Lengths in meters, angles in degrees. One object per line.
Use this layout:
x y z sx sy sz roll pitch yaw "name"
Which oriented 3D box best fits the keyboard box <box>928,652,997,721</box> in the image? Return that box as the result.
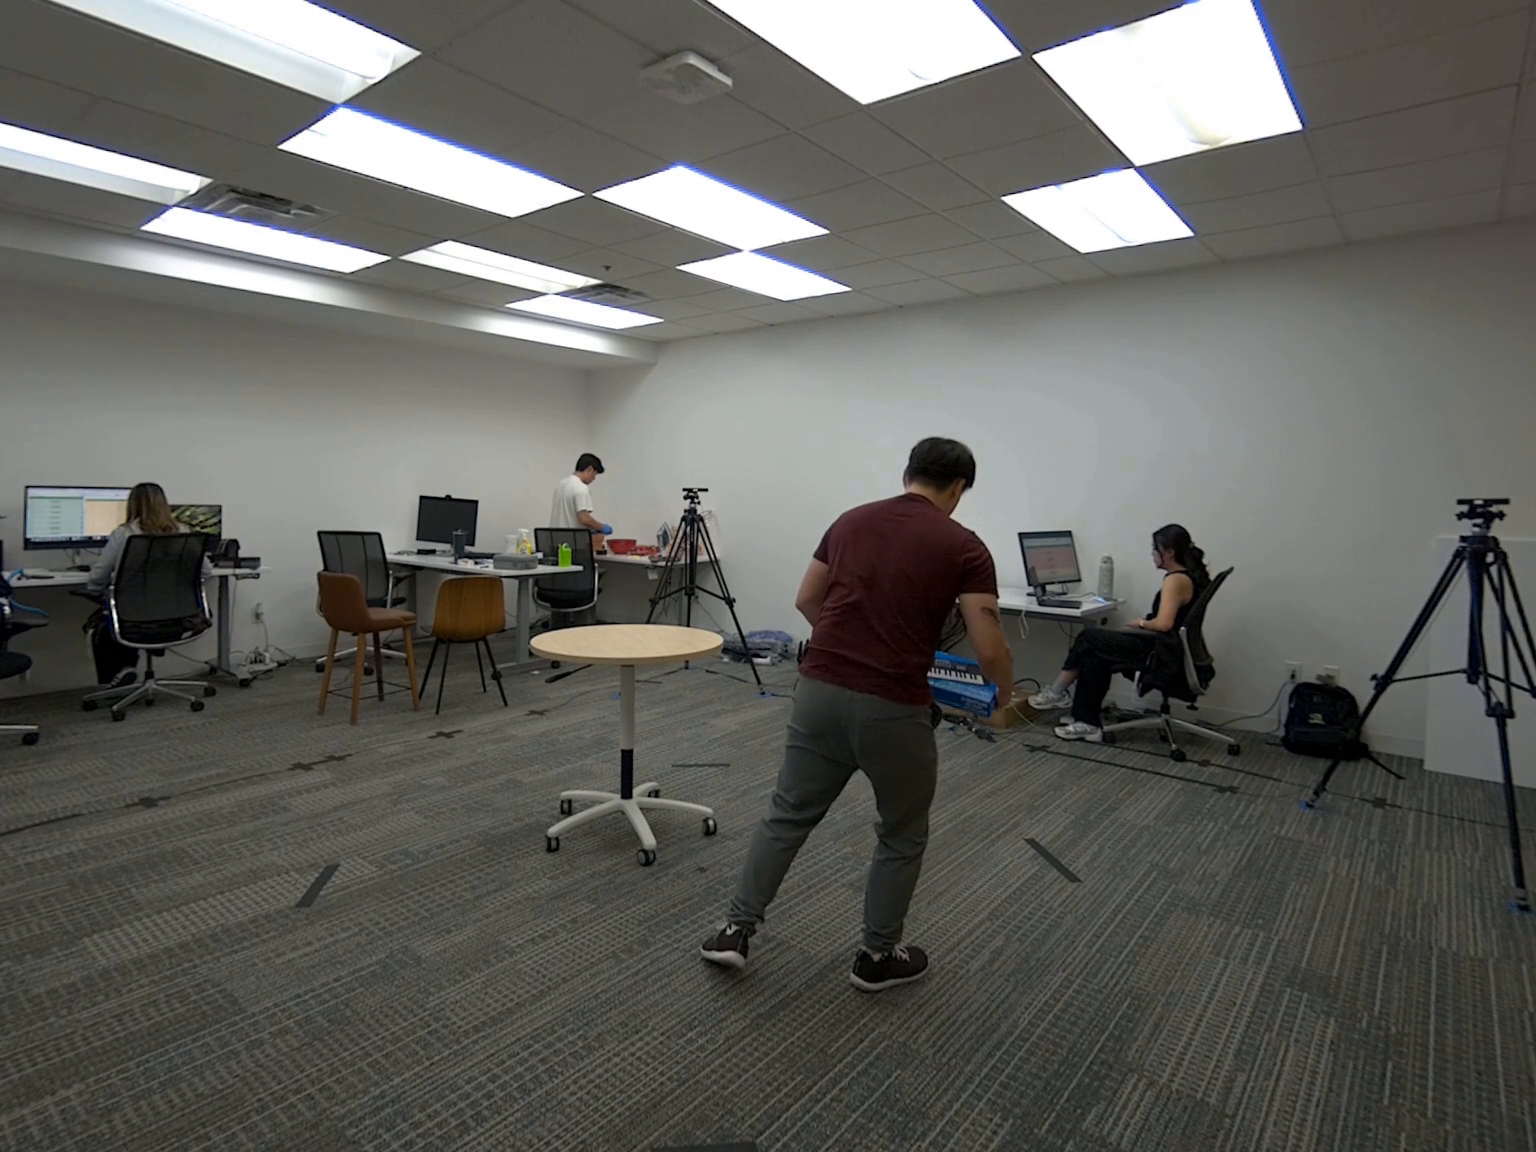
0.495 0.308 2.627 0.452 0.058 0.174 13 32 35 "keyboard box"
